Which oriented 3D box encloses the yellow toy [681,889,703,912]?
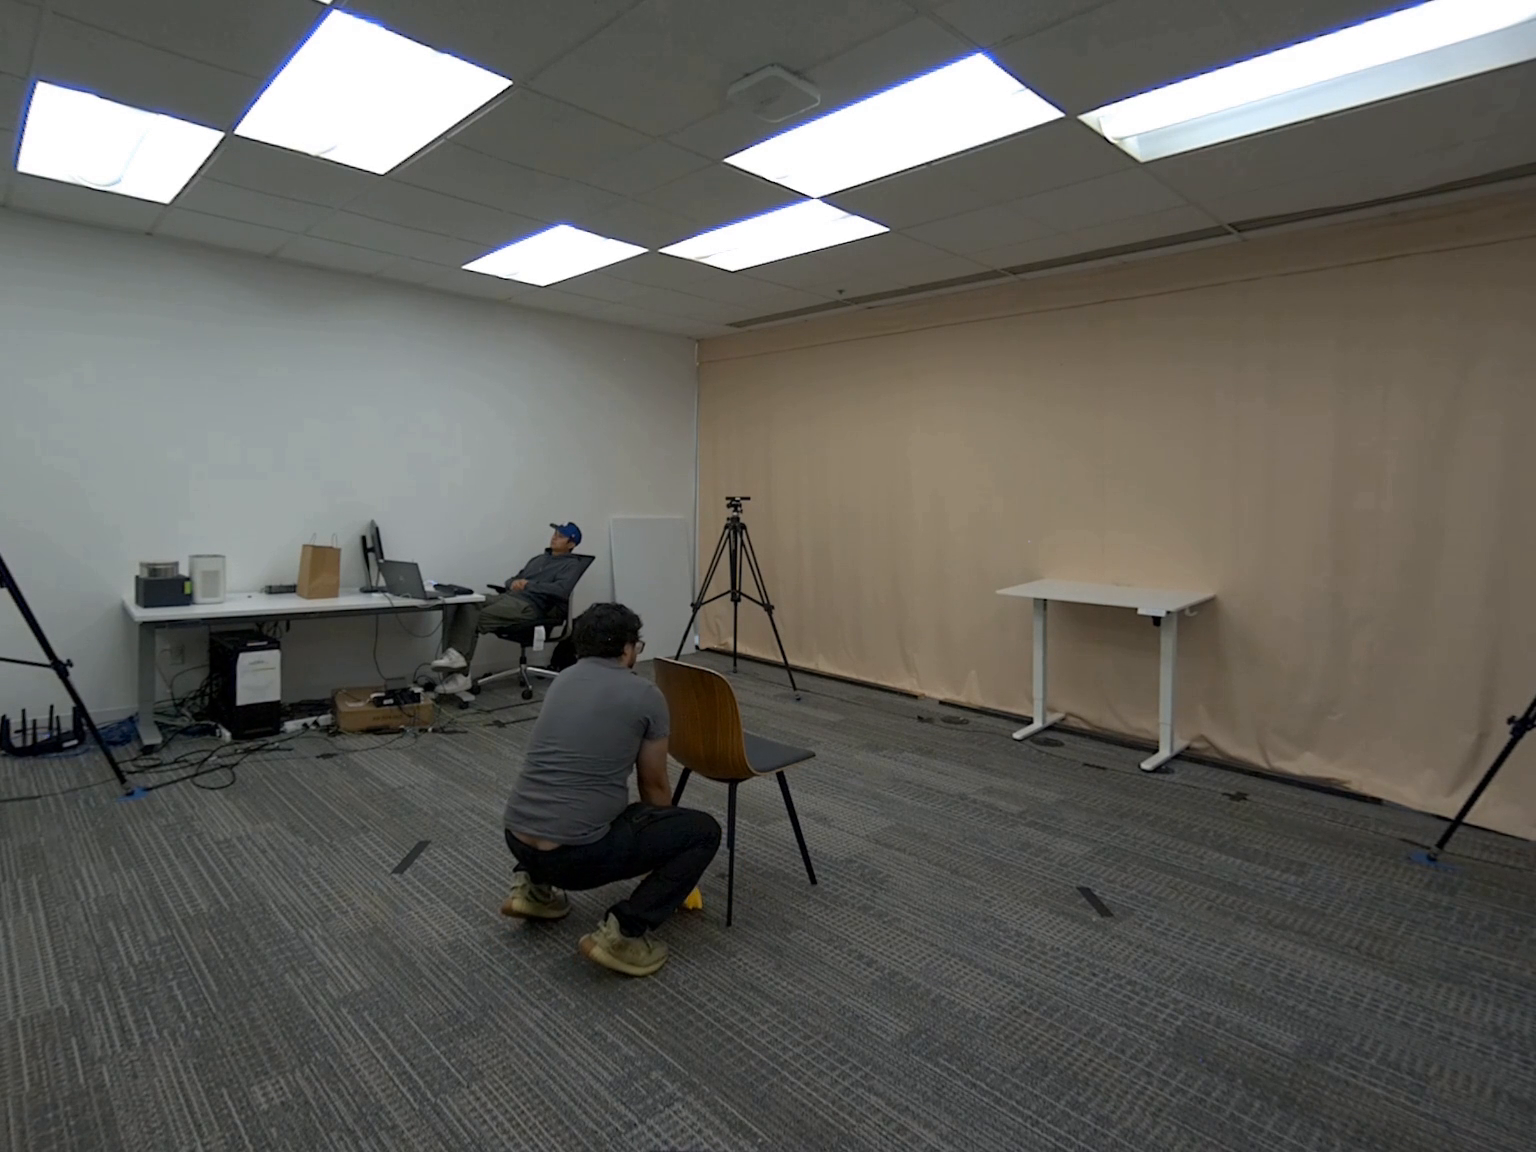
[{"bbox_3d":[-0.327,0.994,2.843,0.199,0.232,0.197,8,-8,-40],"label":"yellow toy"}]
